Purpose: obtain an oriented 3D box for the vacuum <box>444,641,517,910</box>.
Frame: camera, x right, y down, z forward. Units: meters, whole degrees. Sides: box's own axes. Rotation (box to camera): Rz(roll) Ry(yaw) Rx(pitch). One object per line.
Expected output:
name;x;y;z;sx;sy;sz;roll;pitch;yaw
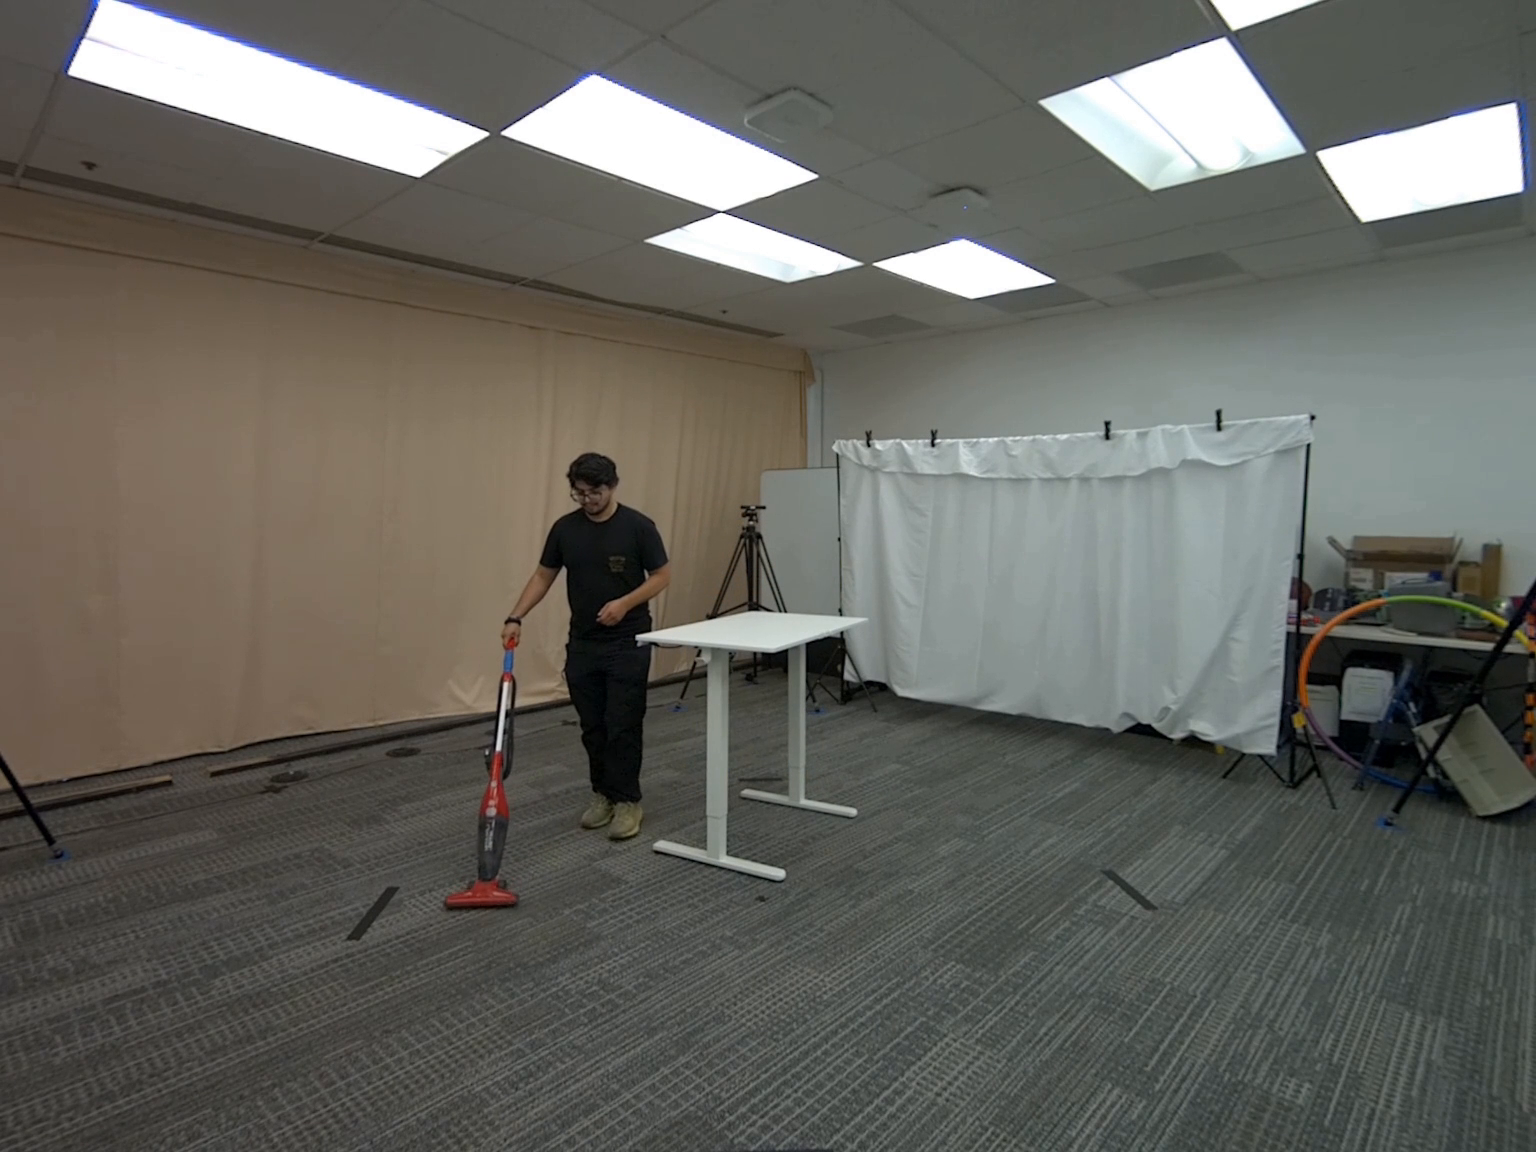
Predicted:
vacuum;-1.033;0.696;3.279;0.251;1.069;0.142;-2;-34;-5
